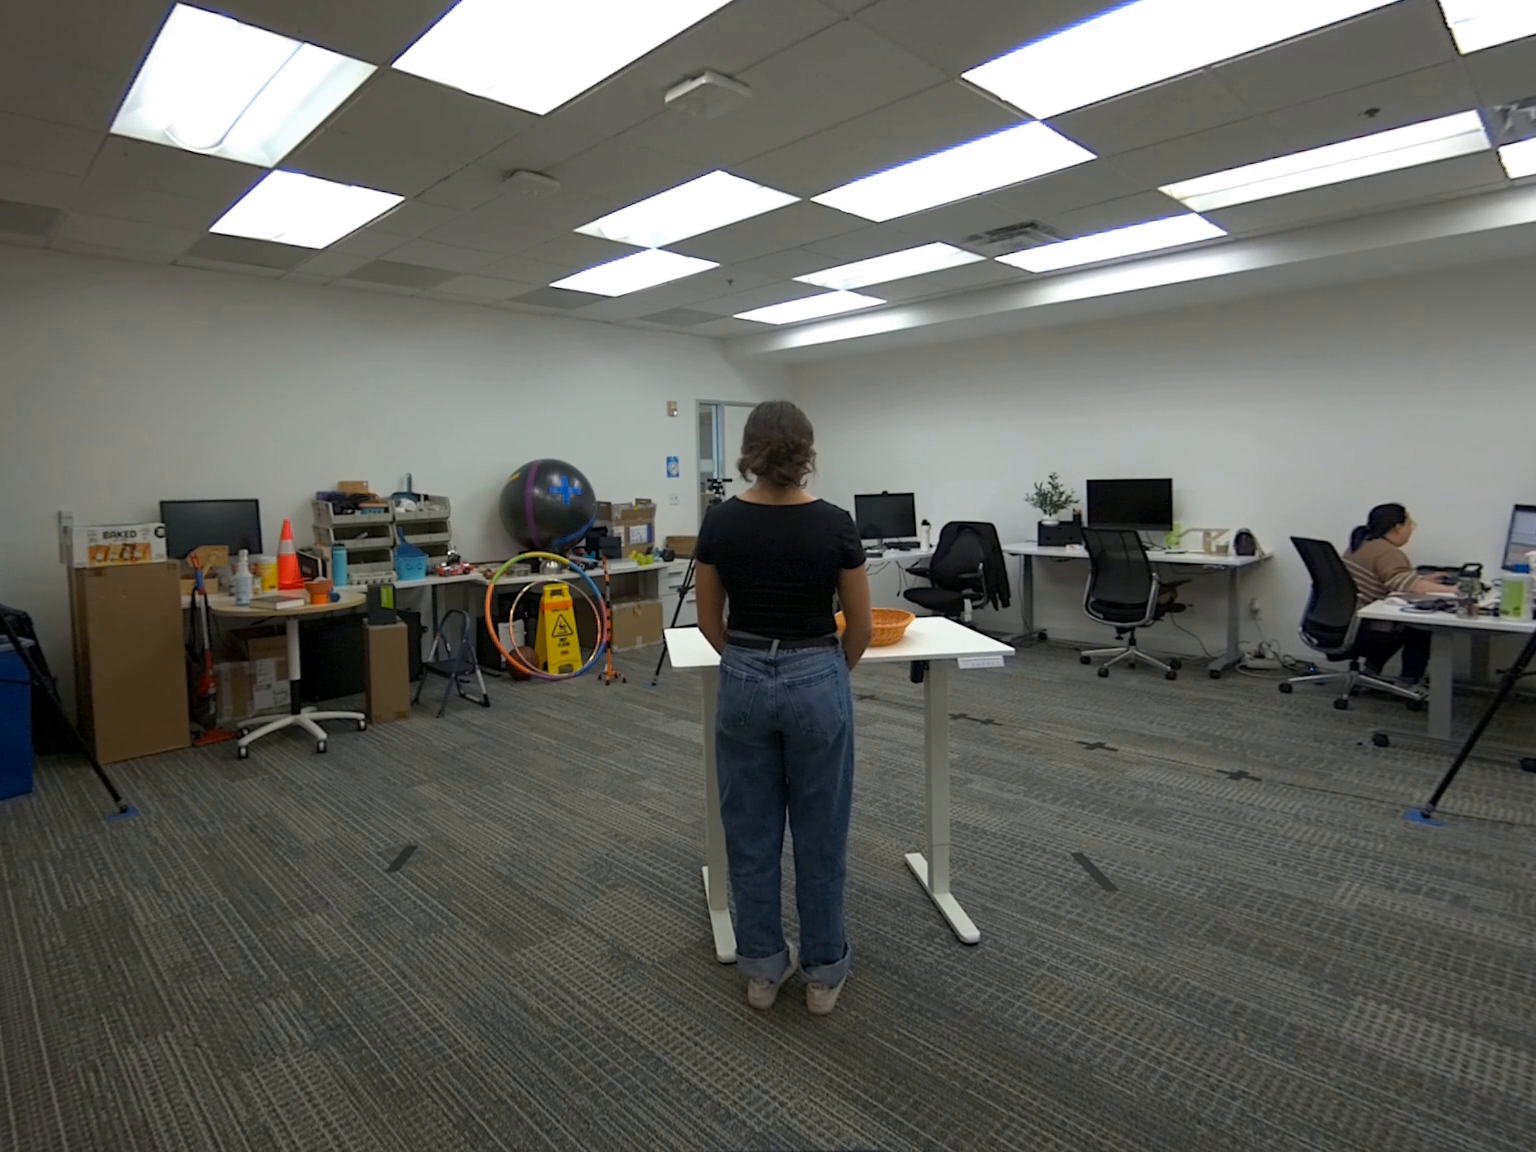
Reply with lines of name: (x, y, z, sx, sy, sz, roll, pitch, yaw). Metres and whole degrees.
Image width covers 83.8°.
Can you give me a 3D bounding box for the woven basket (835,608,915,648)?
woven basket: (0.353, 0.171, 2.707, 0.256, 0.073, 0.347, 1, 7, 15)
